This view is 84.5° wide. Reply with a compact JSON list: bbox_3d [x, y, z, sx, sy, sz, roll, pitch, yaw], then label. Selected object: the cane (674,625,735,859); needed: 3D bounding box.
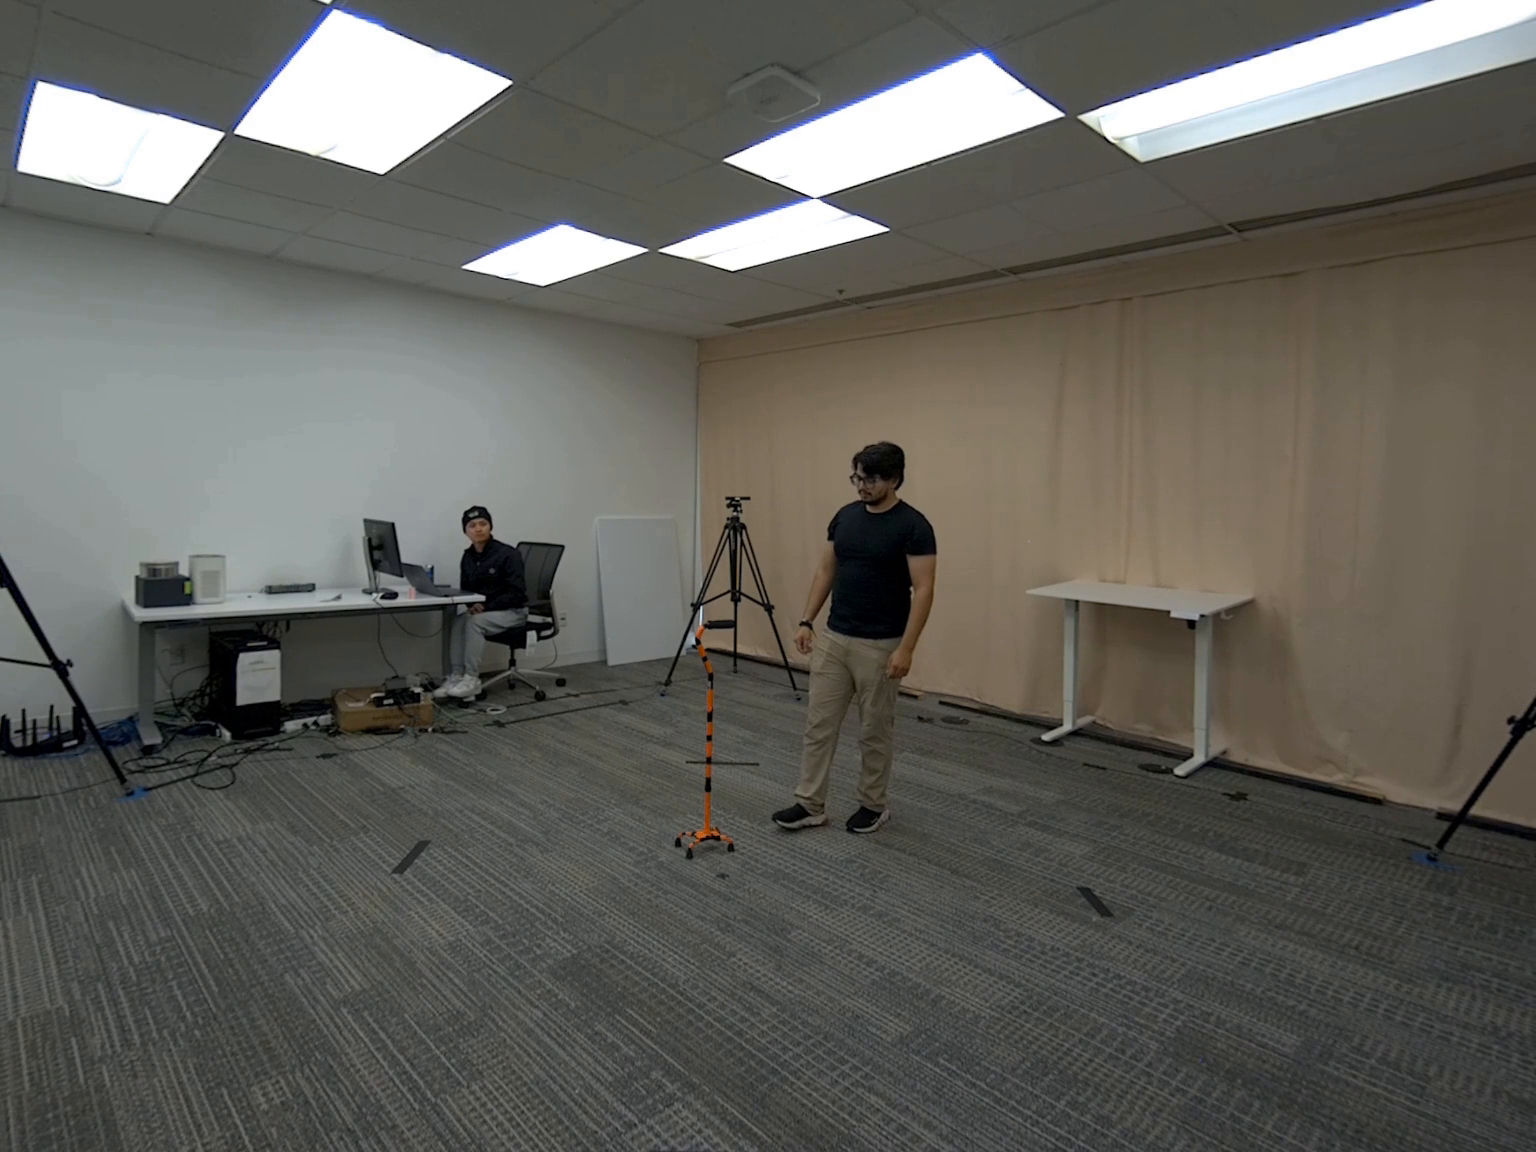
[{"bbox_3d":[-0.244,0.632,3.328,0.203,0.907,0.154,1,2,-25],"label":"cane"}]
